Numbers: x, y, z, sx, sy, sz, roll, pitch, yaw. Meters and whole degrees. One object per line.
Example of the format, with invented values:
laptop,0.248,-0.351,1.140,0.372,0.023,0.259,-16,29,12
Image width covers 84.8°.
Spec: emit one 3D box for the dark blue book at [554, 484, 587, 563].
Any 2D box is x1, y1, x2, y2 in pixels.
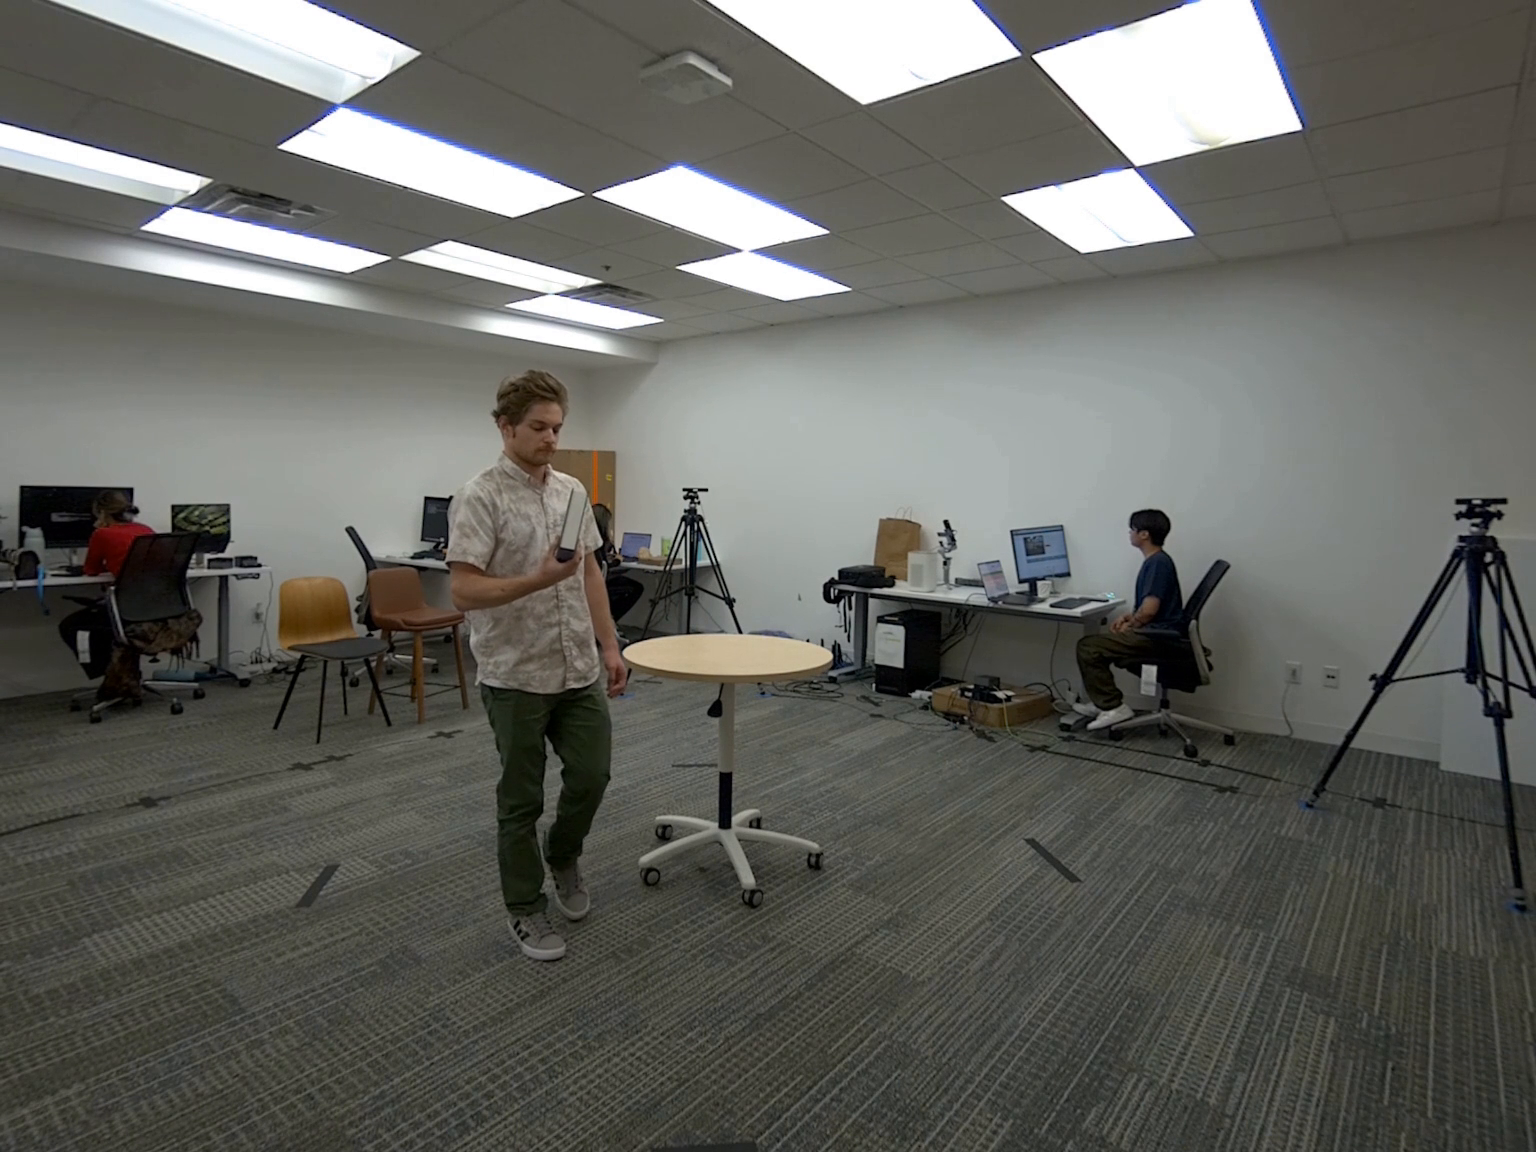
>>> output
dark blue book,-0.532,-0.125,2.256,0.044,0.165,0.245,13,-16,-13
